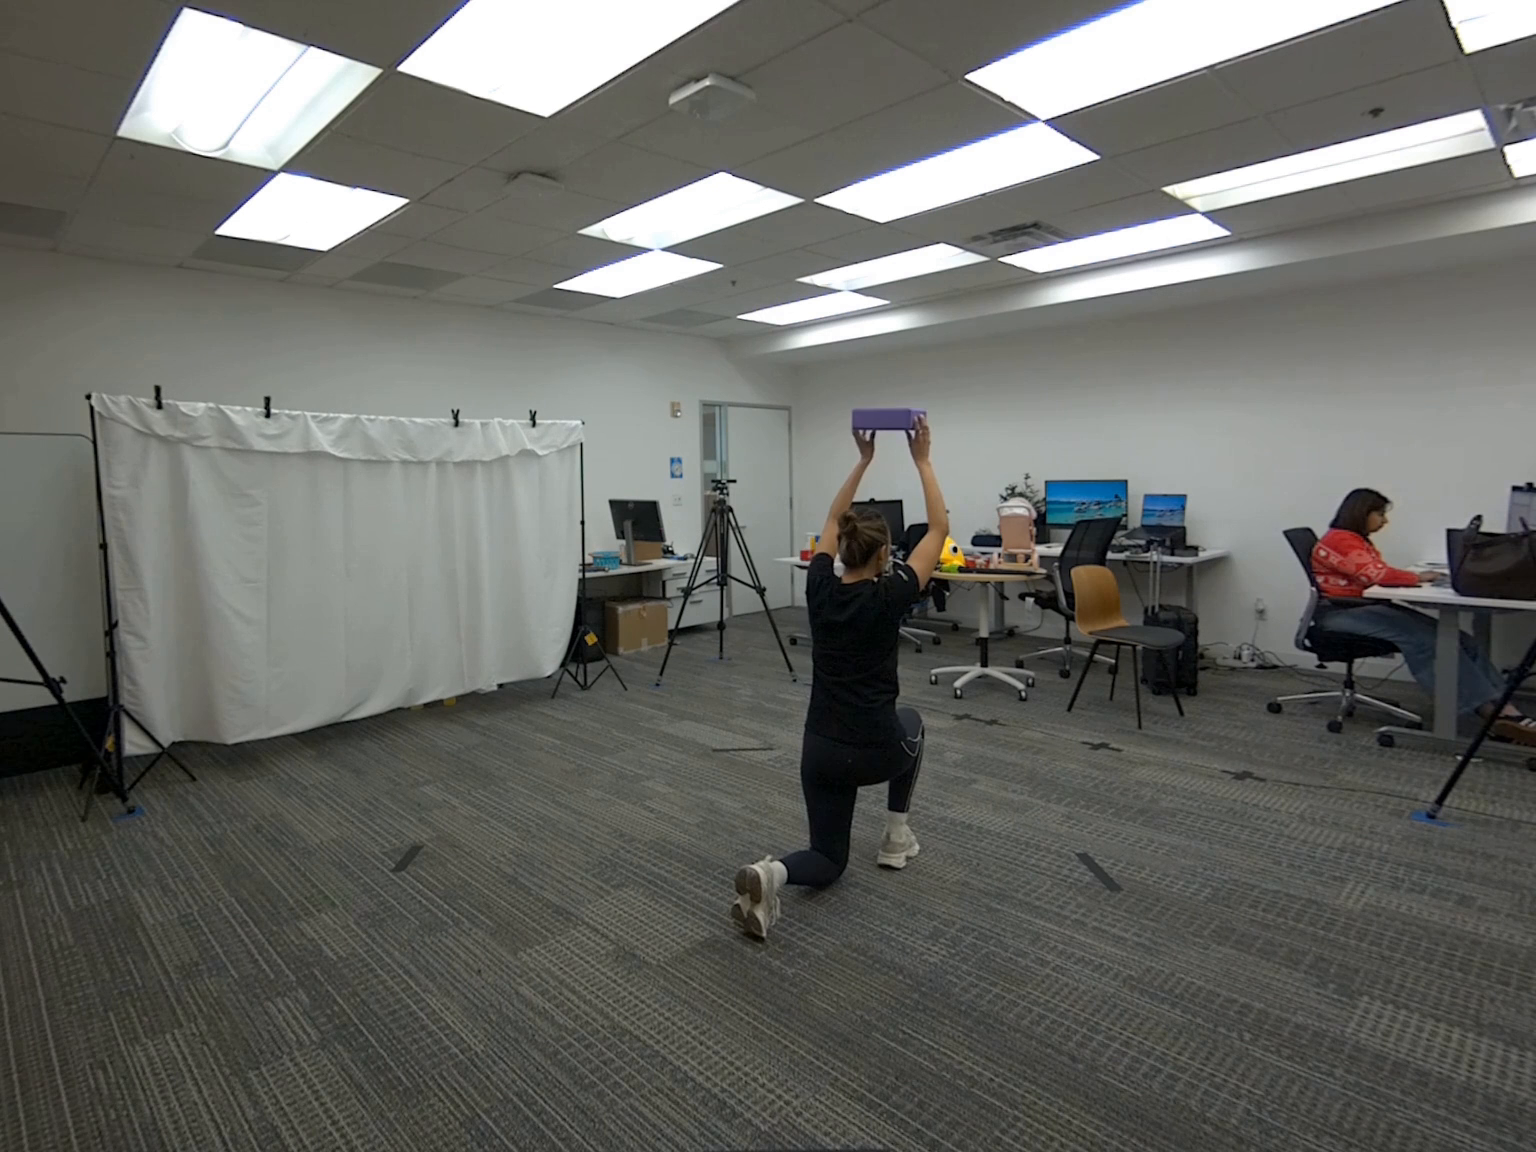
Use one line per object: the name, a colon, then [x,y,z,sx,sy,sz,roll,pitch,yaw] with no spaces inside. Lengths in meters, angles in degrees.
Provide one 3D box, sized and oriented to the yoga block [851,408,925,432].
yoga block: [0.445,-0.556,3.068,0.236,0.076,0.145,8,11,37]
